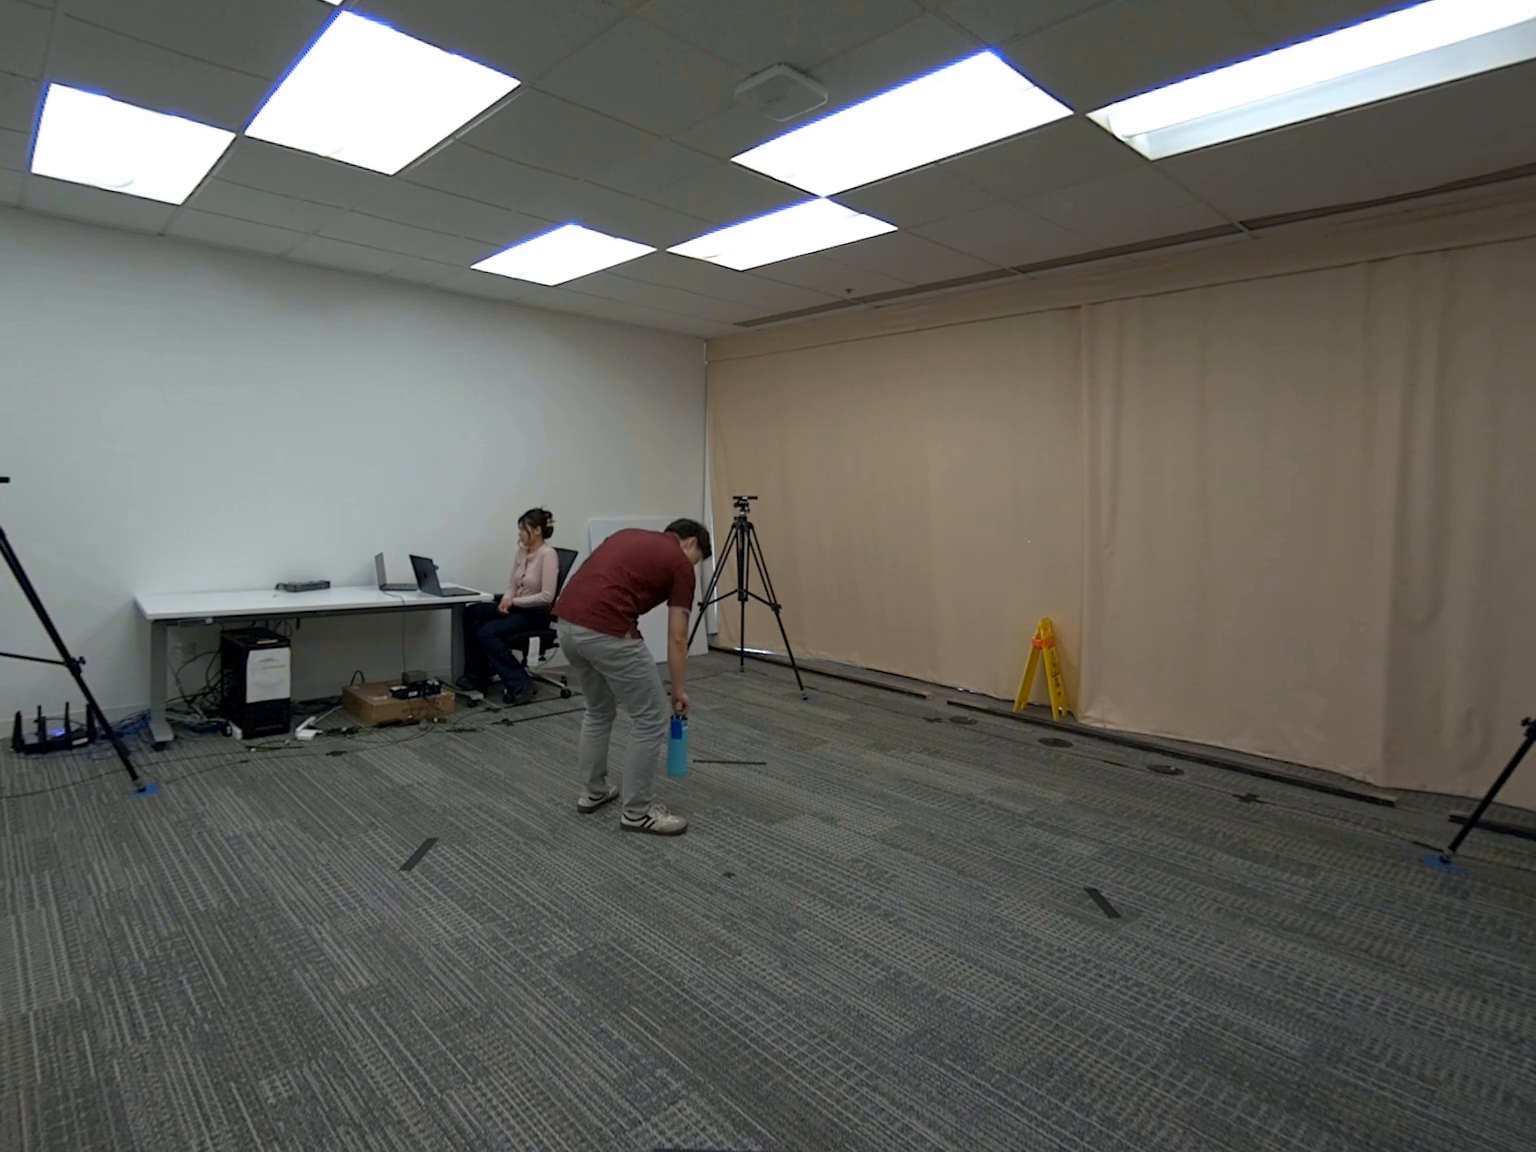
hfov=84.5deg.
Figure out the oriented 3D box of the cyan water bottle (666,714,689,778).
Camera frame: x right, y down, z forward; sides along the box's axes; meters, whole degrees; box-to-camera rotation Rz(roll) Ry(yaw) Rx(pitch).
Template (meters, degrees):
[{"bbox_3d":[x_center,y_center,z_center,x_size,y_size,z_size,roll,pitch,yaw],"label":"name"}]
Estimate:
[{"bbox_3d":[-0.409,0.740,3.703,0.092,0.282,0.093,5,8,-2],"label":"cyan water bottle"}]
